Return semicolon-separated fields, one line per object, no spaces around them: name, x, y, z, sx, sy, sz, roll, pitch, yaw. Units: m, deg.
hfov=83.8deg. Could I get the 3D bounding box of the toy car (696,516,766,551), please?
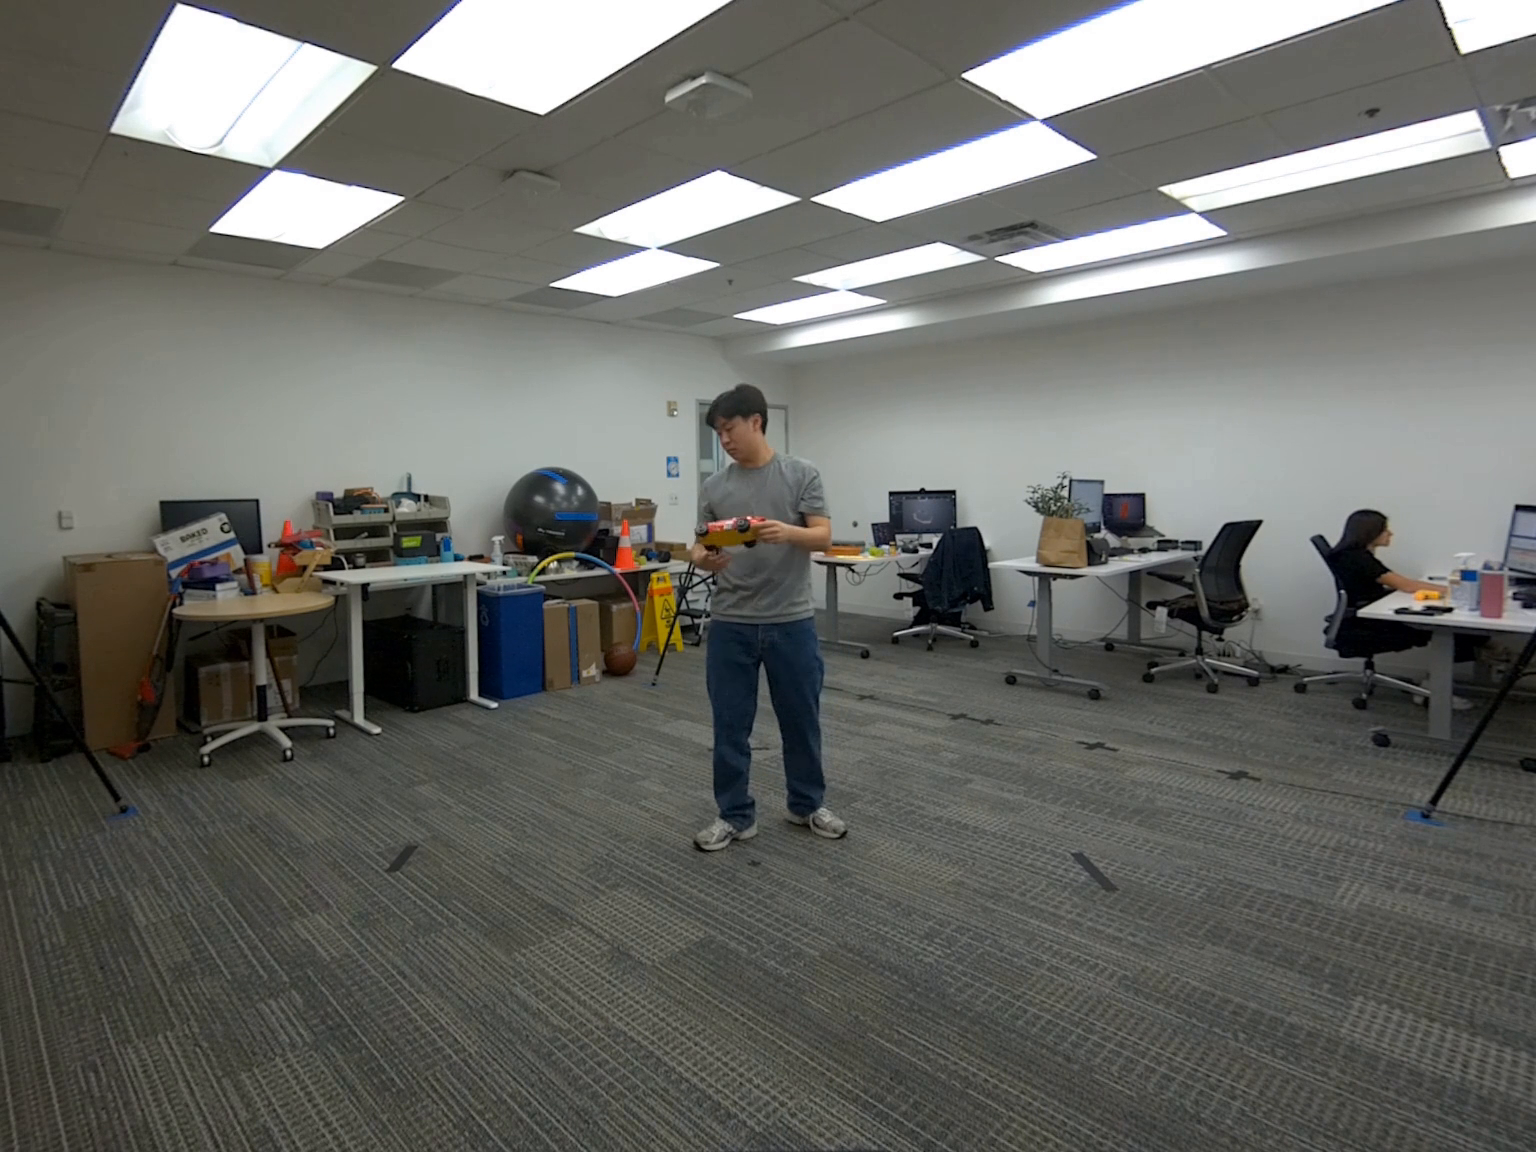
toy car;-0.106;-0.147;2.972;0.256;0.086;0.126;-13;-39;8
